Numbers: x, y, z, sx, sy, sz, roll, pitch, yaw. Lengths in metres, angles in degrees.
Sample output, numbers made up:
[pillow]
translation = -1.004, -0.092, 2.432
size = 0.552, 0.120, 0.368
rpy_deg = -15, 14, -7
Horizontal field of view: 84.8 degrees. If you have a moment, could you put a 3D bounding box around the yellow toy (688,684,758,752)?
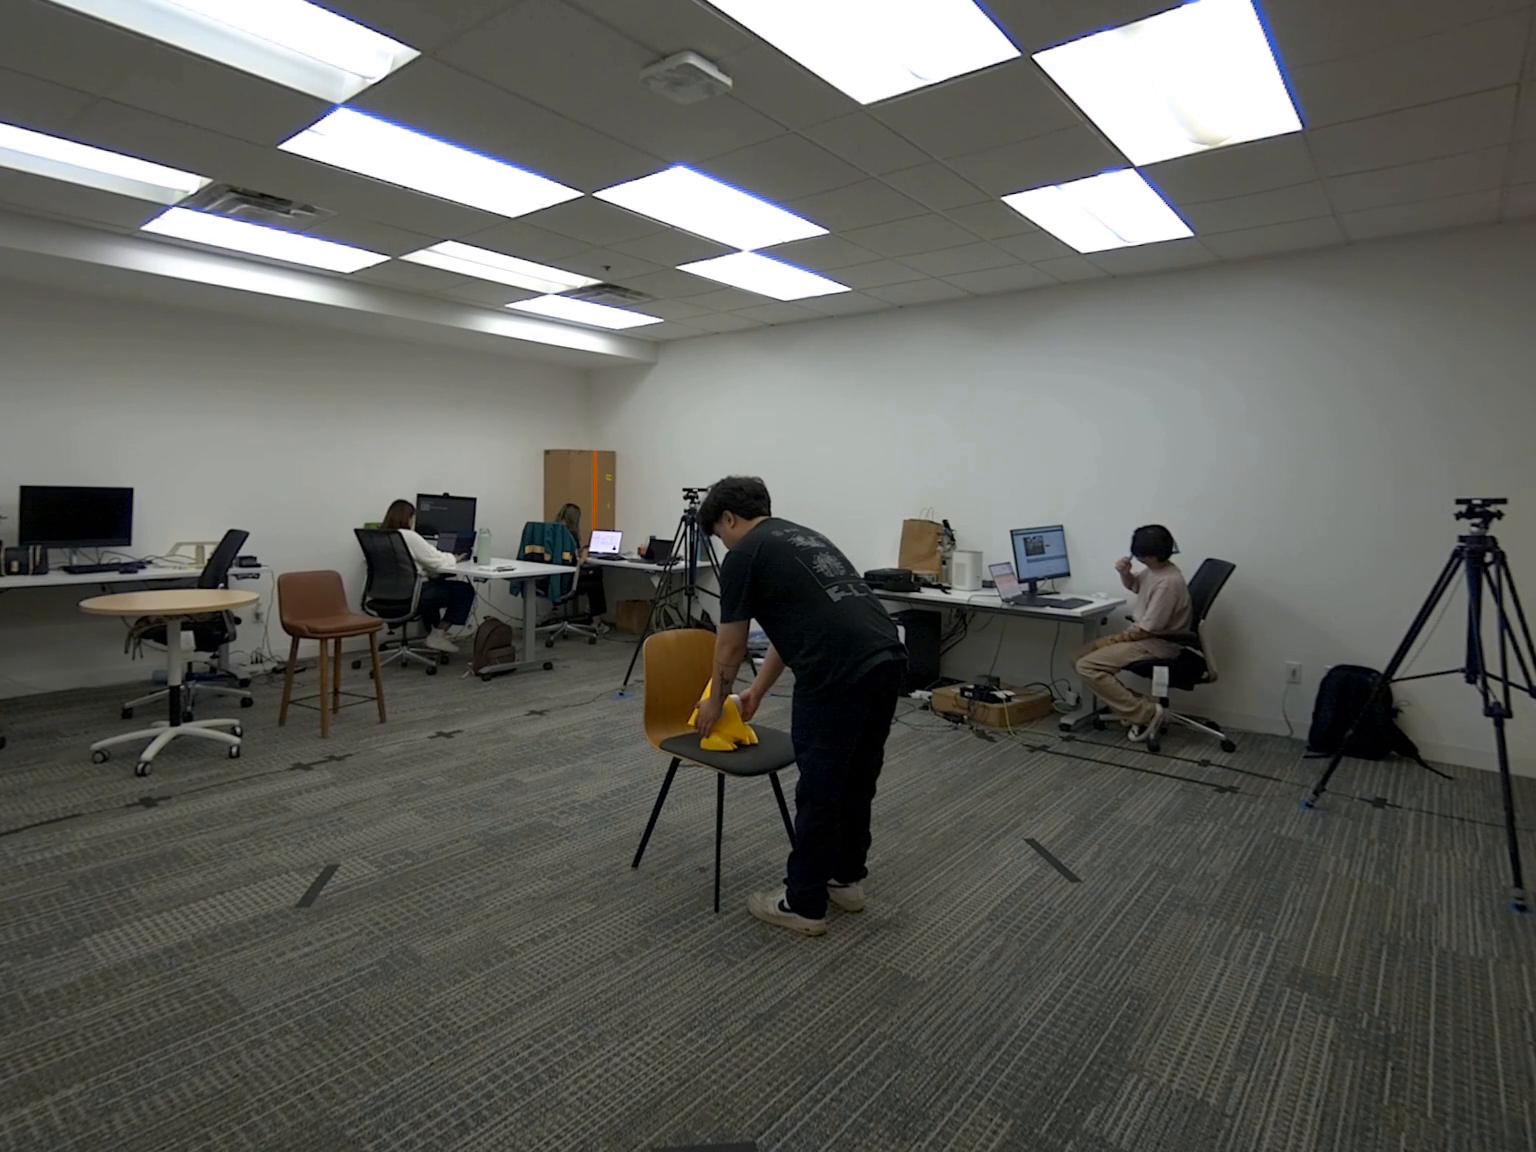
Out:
[yellow toy]
translation = -0.164, 0.482, 3.044
size = 0.198, 0.231, 0.199
rpy_deg = 0, -2, -45
